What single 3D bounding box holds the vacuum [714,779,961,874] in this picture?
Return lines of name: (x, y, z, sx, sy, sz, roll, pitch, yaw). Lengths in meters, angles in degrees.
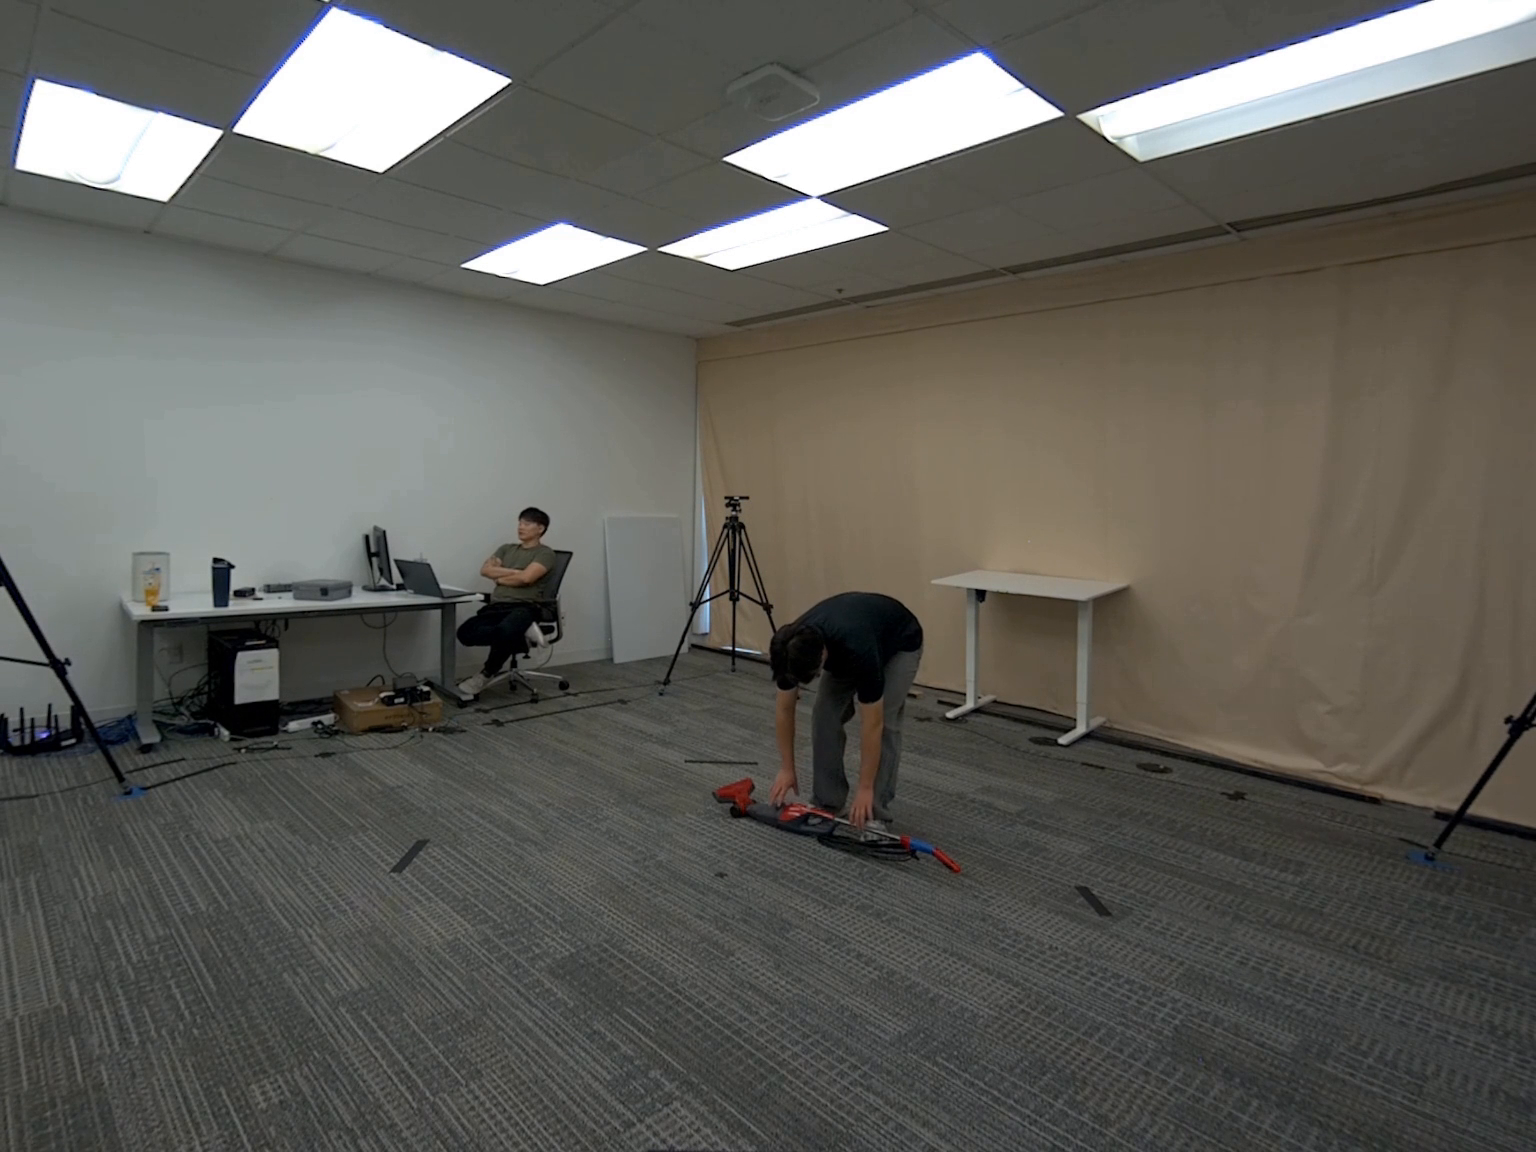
vacuum: (0.257, 1.024, 3.392, 1.076, 0.144, 0.247, 5, 4, 40)
